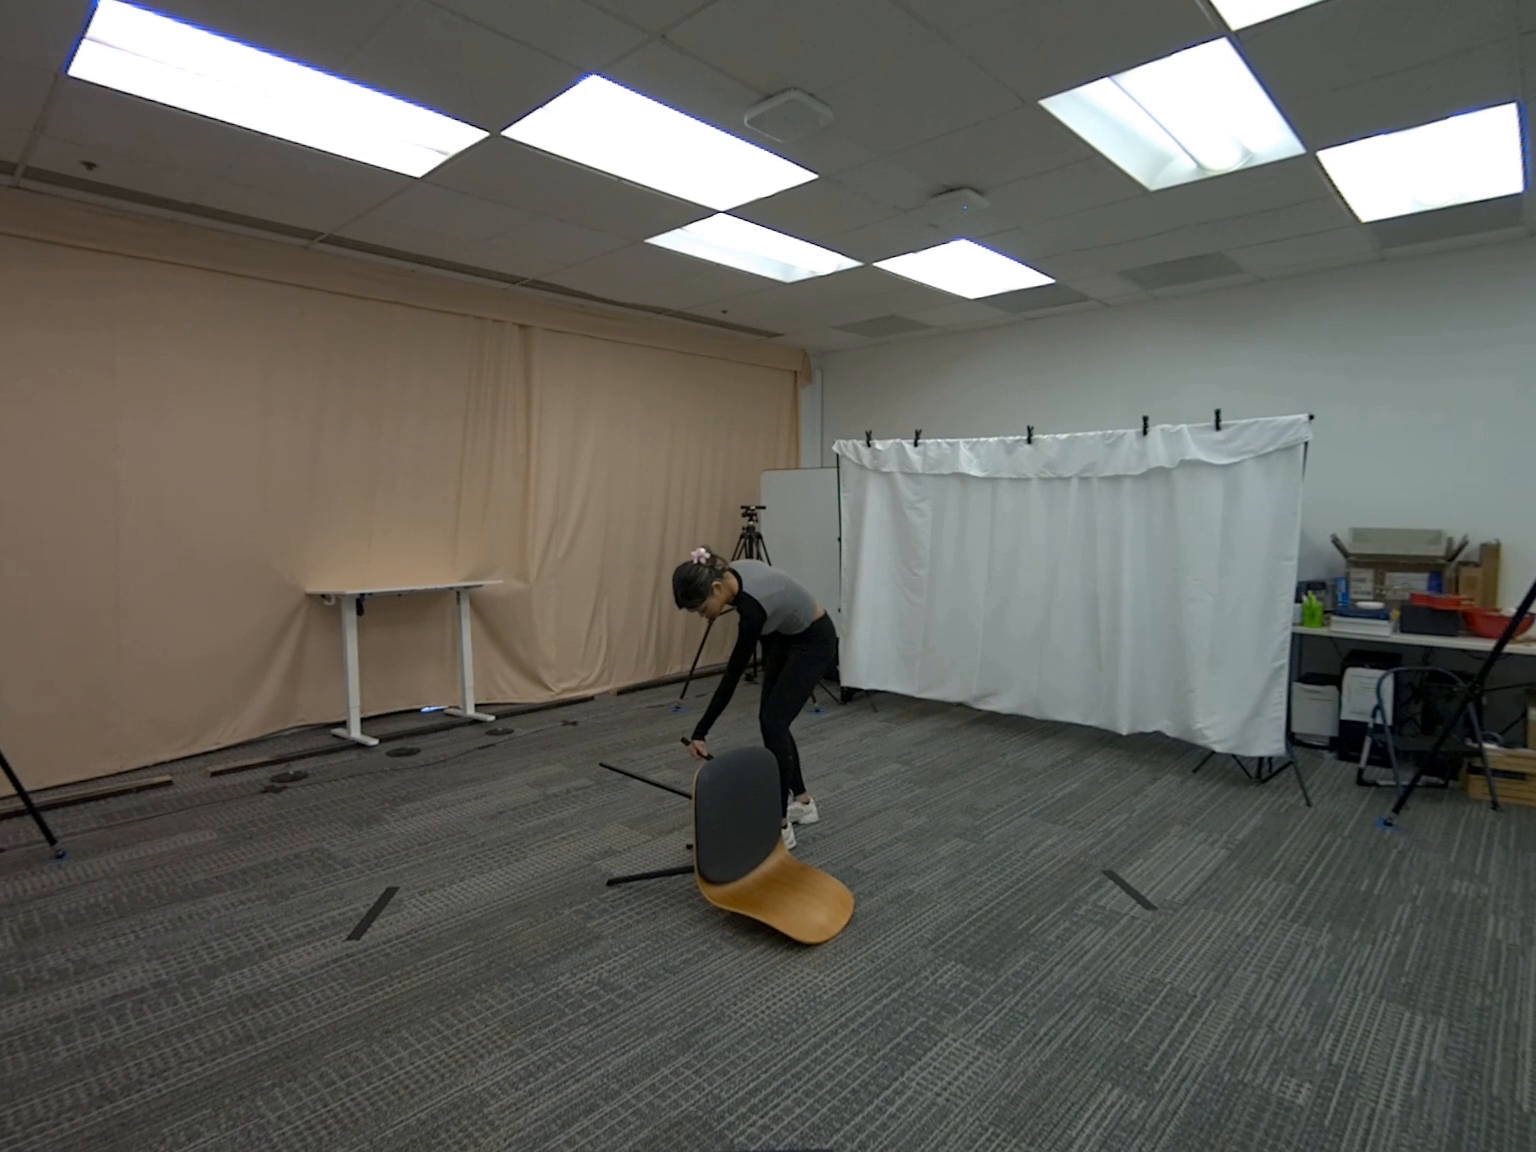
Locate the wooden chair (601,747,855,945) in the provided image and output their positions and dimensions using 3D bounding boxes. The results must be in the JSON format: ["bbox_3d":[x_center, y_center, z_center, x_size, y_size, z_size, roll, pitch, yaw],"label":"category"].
[{"bbox_3d":[-0.132,0.888,2.989,0.906,0.522,0.463,5,6,39],"label":"wooden chair"}]
